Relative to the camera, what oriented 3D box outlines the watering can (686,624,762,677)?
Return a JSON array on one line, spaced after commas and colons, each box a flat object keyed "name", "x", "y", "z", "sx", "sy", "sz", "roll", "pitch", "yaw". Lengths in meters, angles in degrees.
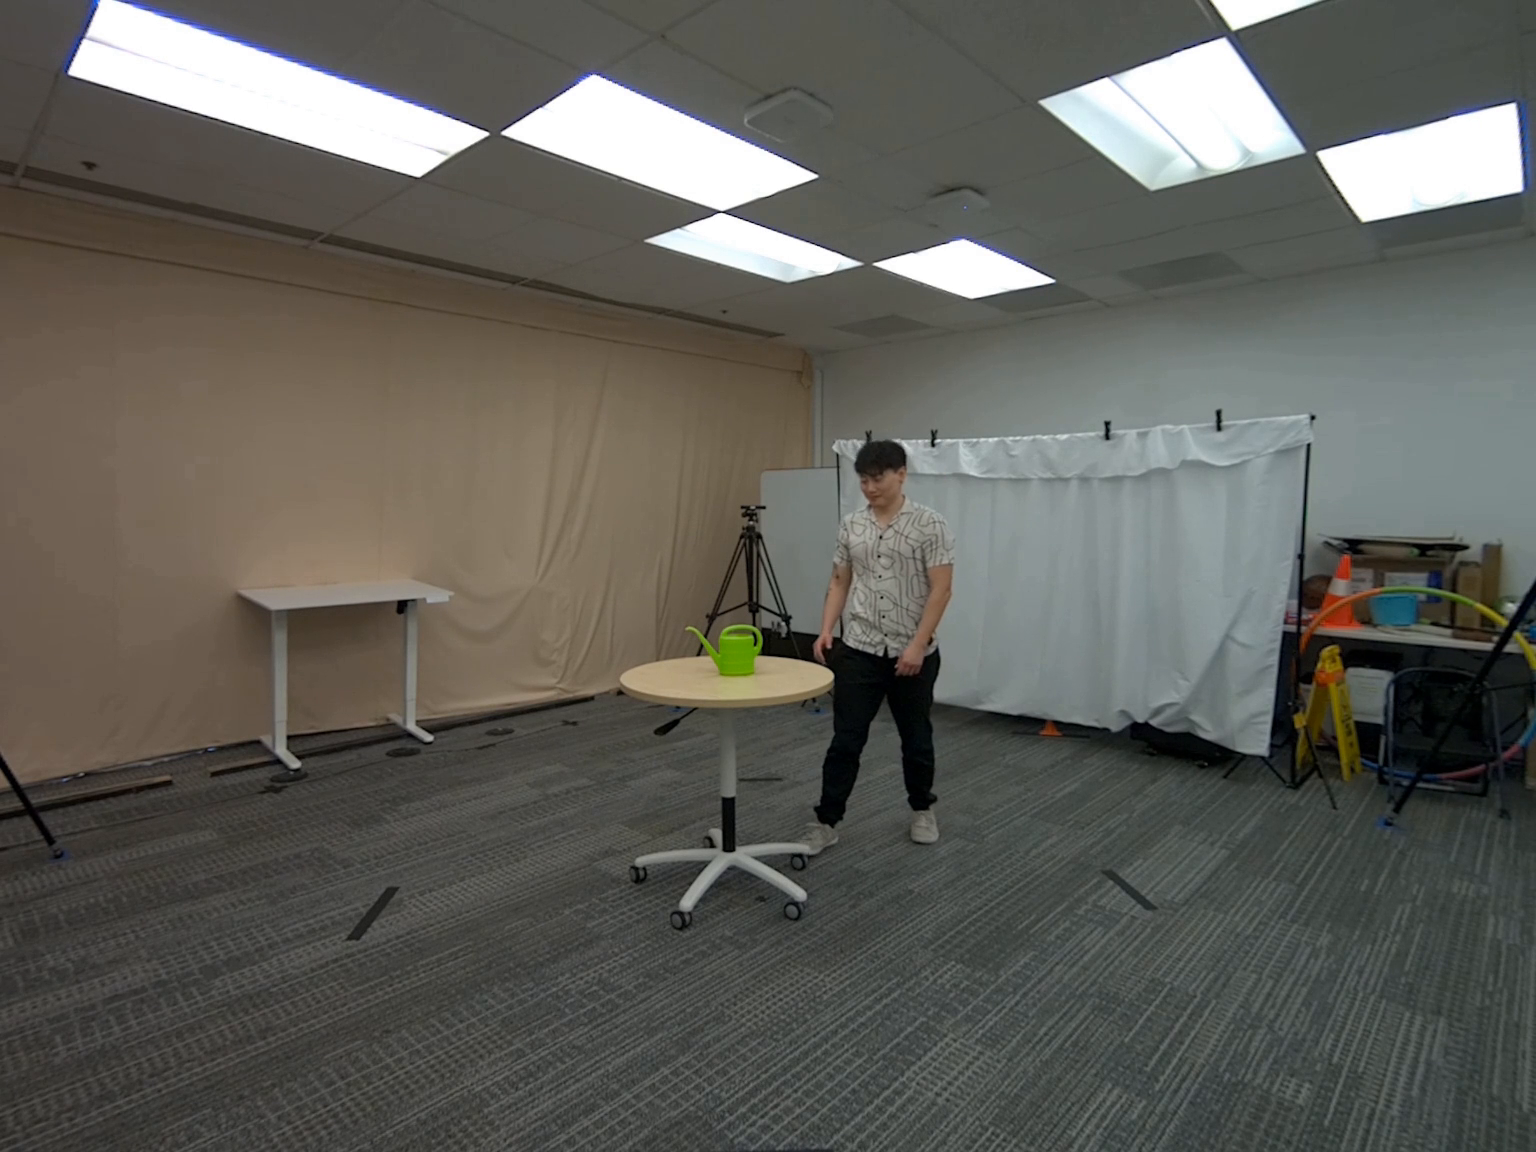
[{"name": "watering can", "x": -0.154, "y": 0.273, "z": 3.050, "sx": 0.279, "sy": 0.177, "sz": 0.098, "roll": -1, "pitch": 1, "yaw": 1}]
